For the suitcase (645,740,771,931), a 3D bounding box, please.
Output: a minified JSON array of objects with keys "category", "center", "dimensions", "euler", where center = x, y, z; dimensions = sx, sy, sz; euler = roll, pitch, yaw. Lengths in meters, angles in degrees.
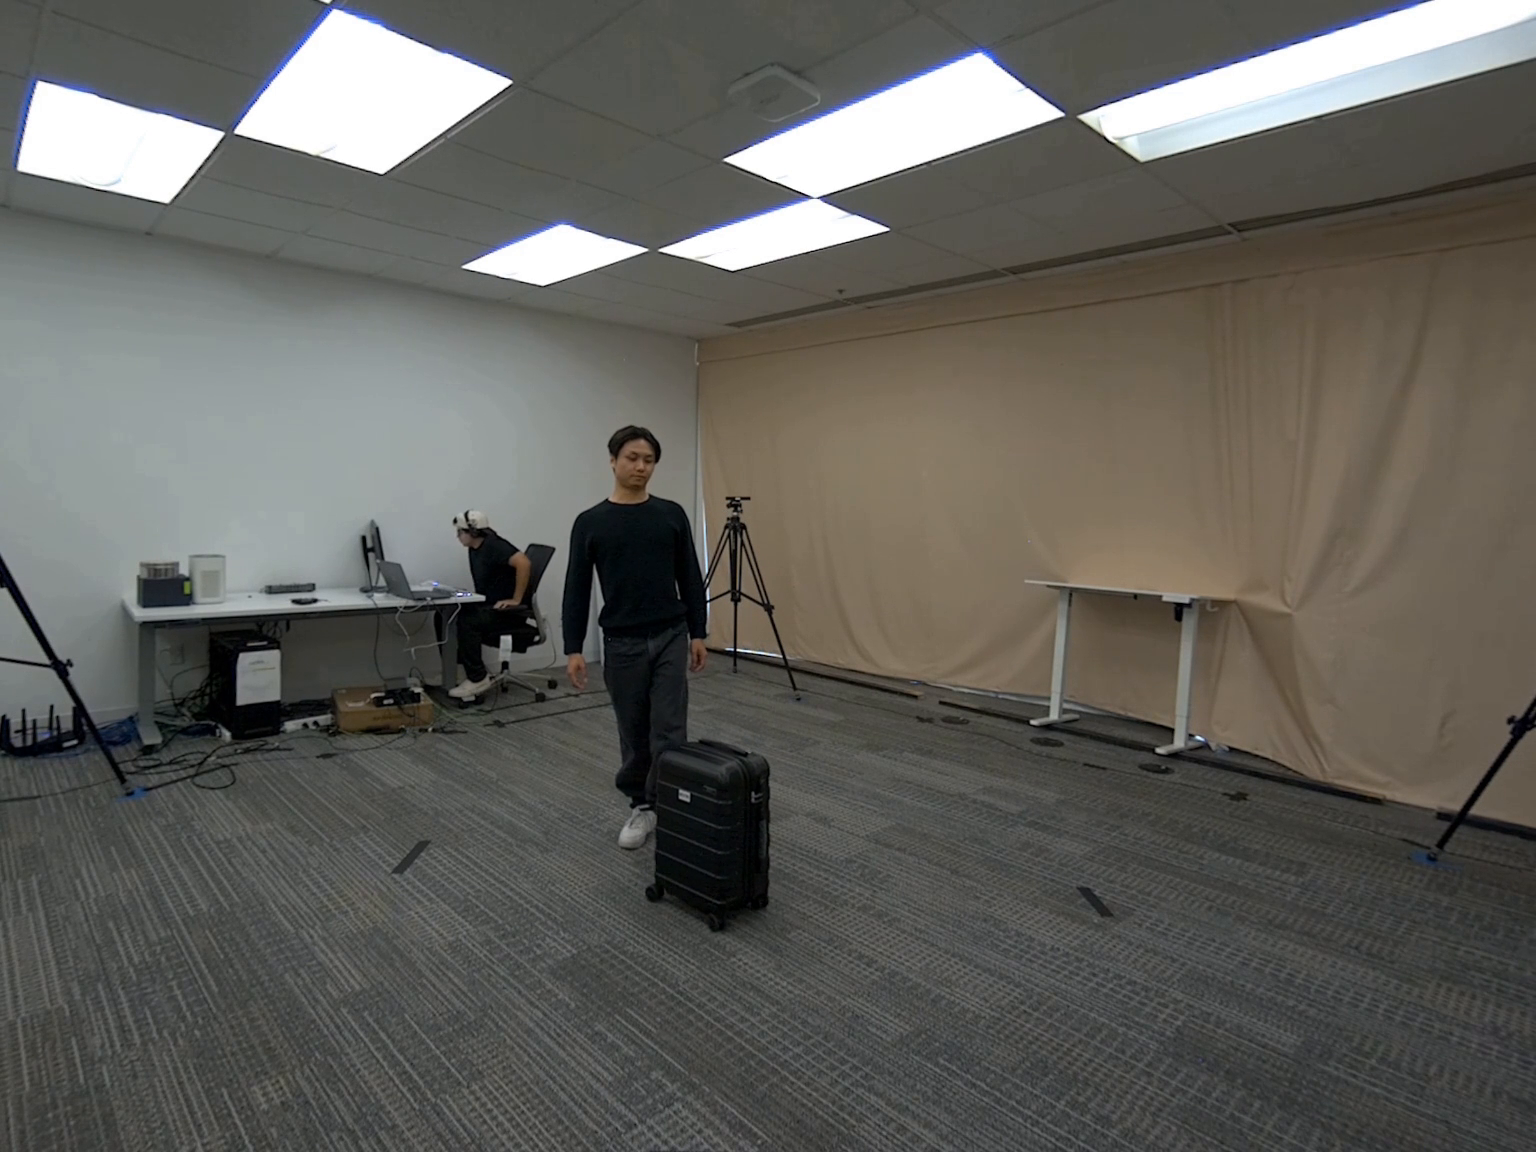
[{"category":"suitcase","center":[-0.192,0.855,2.854],"dimensions":[0.385,0.547,0.243],"euler":[6,6,41]}]
